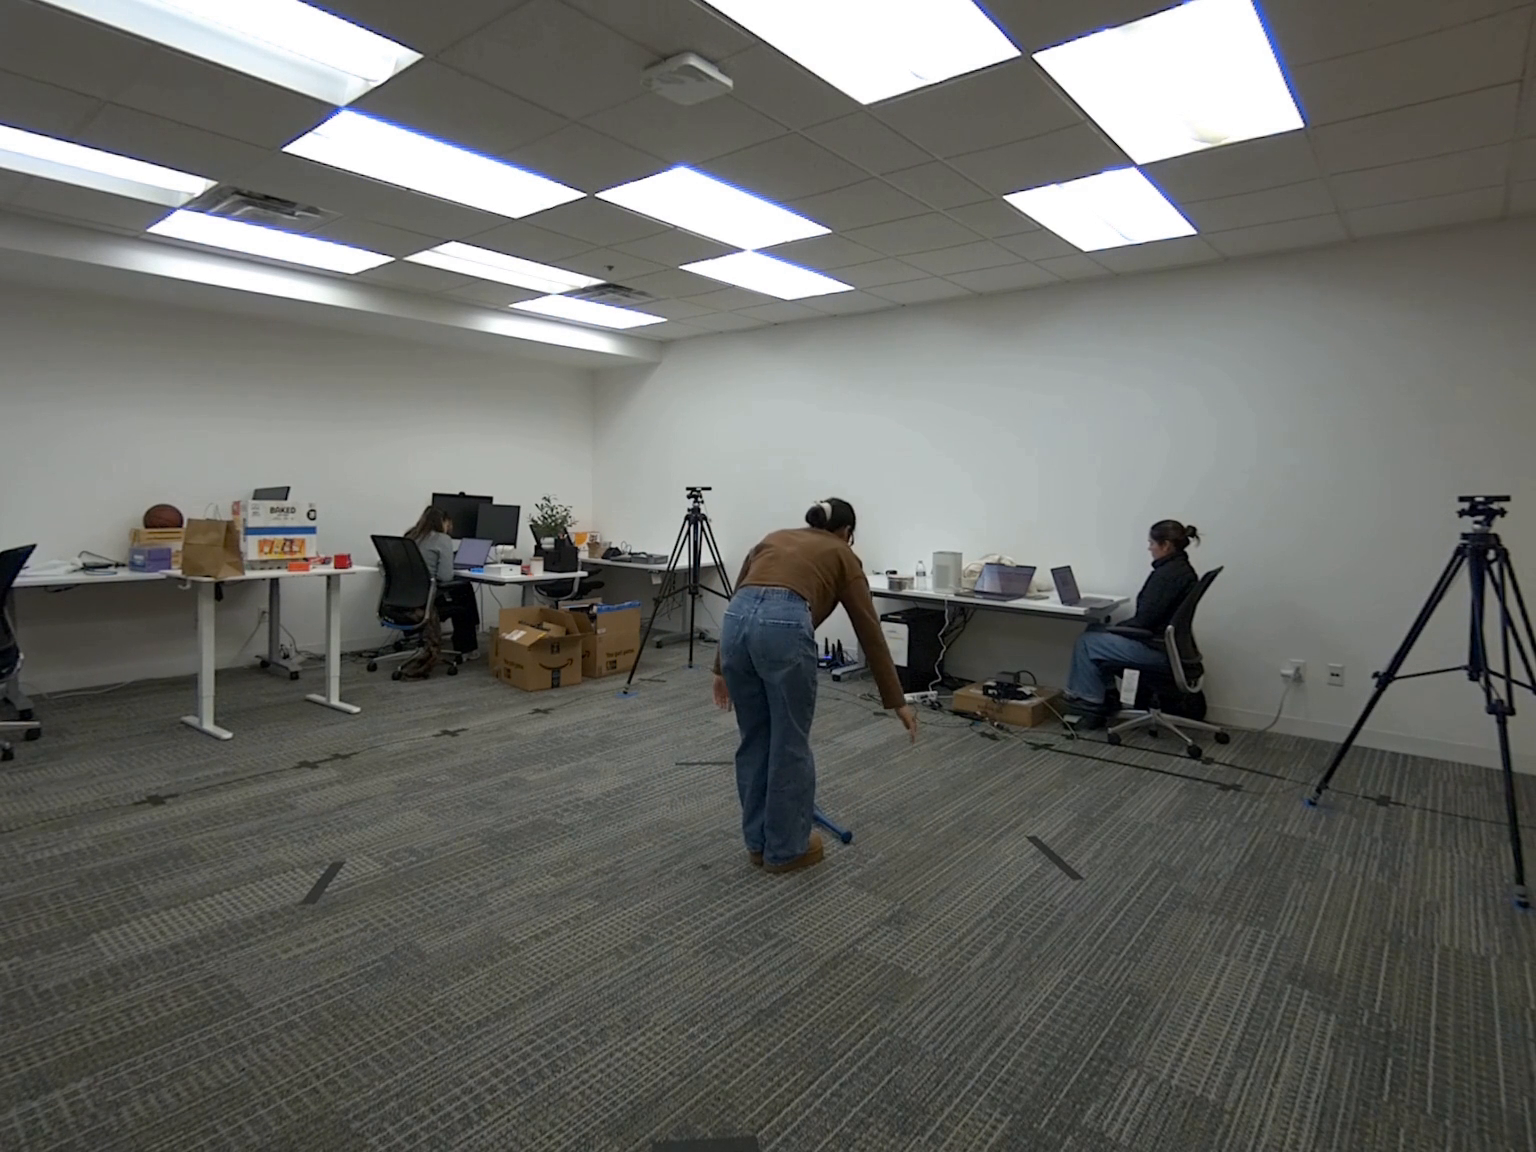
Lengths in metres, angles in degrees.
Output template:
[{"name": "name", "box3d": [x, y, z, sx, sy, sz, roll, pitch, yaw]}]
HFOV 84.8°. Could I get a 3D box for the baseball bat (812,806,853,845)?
[{"name": "baseball bat", "box3d": [0.174, 0.988, 3.591, 0.087, 0.088, 0.560, -1, 9, -27]}]
